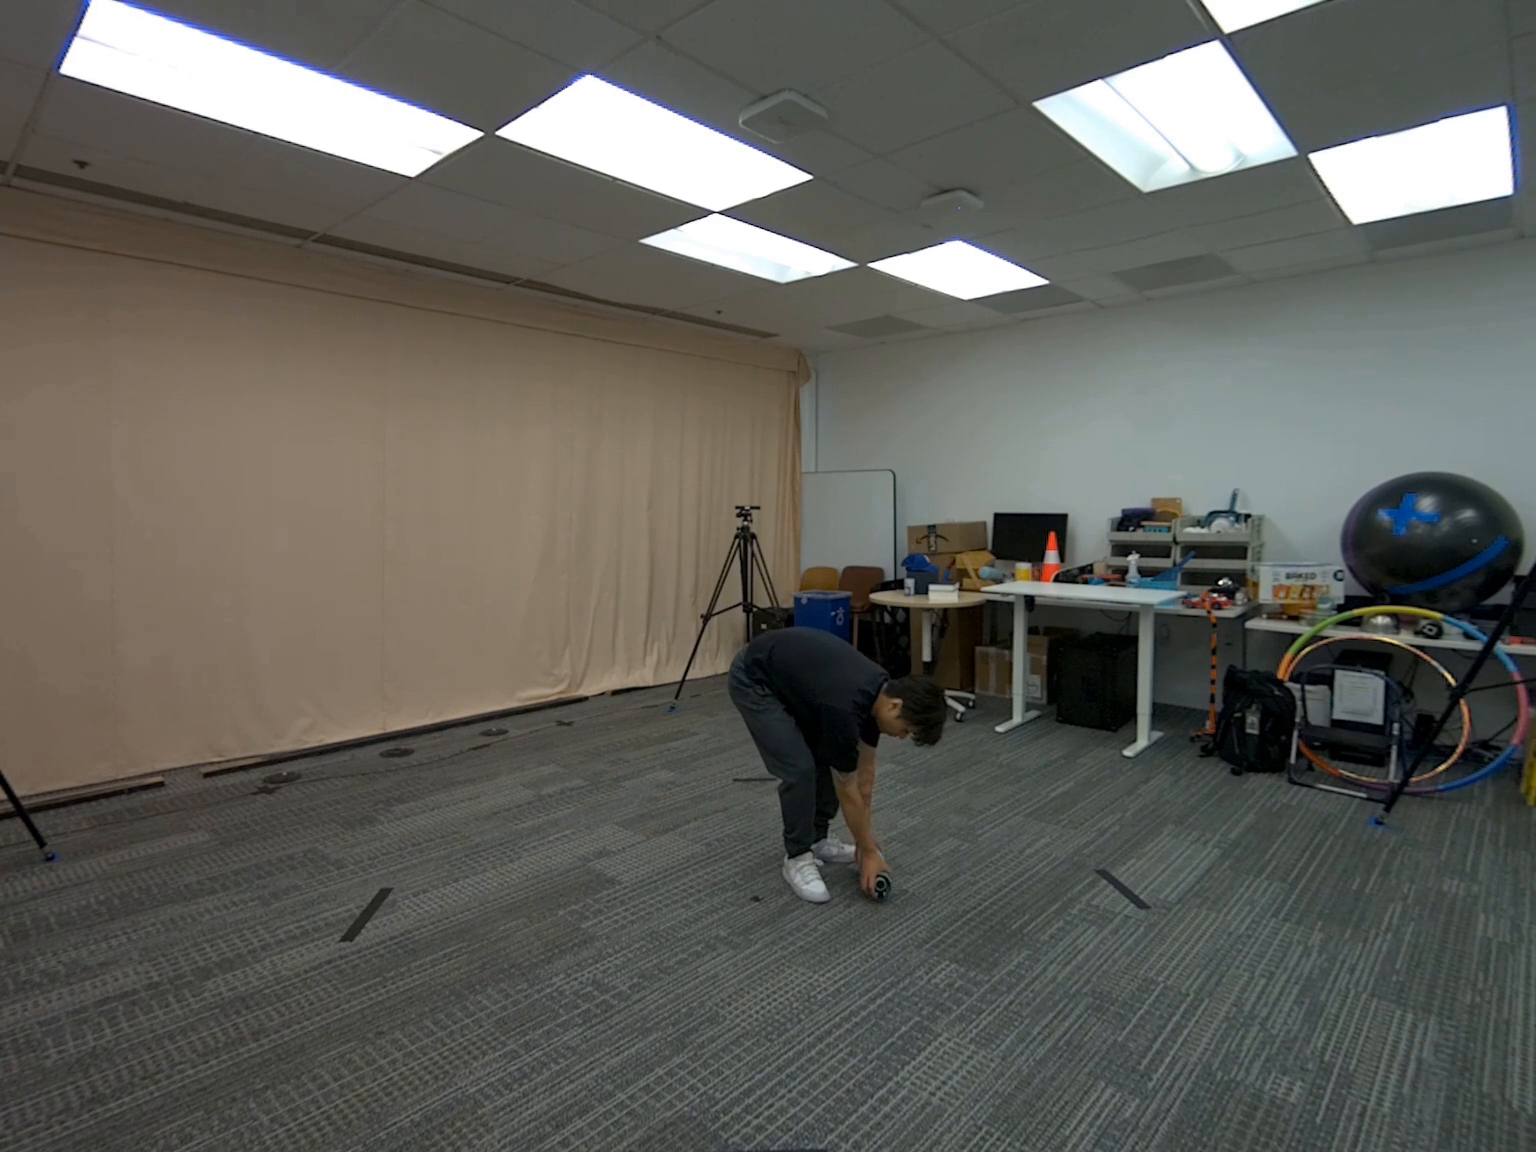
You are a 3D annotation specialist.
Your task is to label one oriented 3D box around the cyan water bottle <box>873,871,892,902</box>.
[{"bbox_3d":[0.382,1.057,3.035,0.092,0.092,0.284,0,5,-1],"label":"cyan water bottle"}]
